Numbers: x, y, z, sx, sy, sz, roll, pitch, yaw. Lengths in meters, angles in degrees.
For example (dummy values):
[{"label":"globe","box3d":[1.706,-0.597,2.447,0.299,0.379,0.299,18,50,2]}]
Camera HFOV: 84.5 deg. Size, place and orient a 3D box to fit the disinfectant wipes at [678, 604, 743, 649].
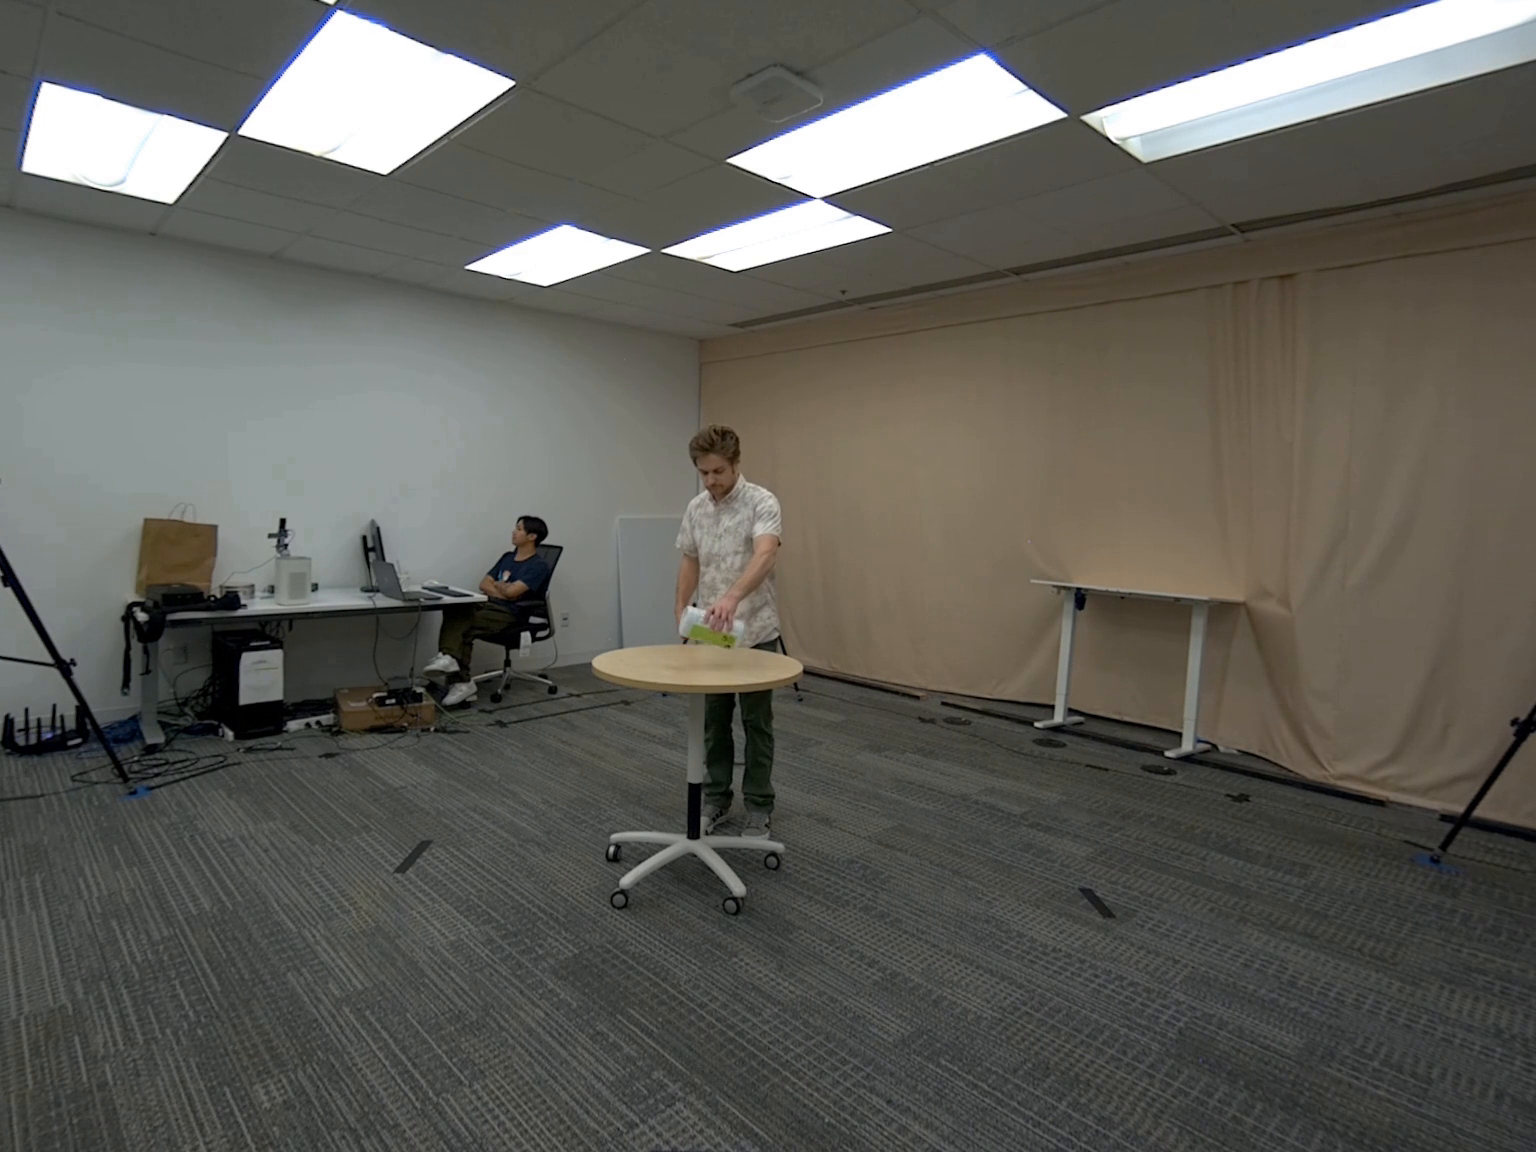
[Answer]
[{"label":"disinfectant wipes","box3d":[-0.208,0.185,2.995,0.215,0.118,0.119,18,0,-13]}]
